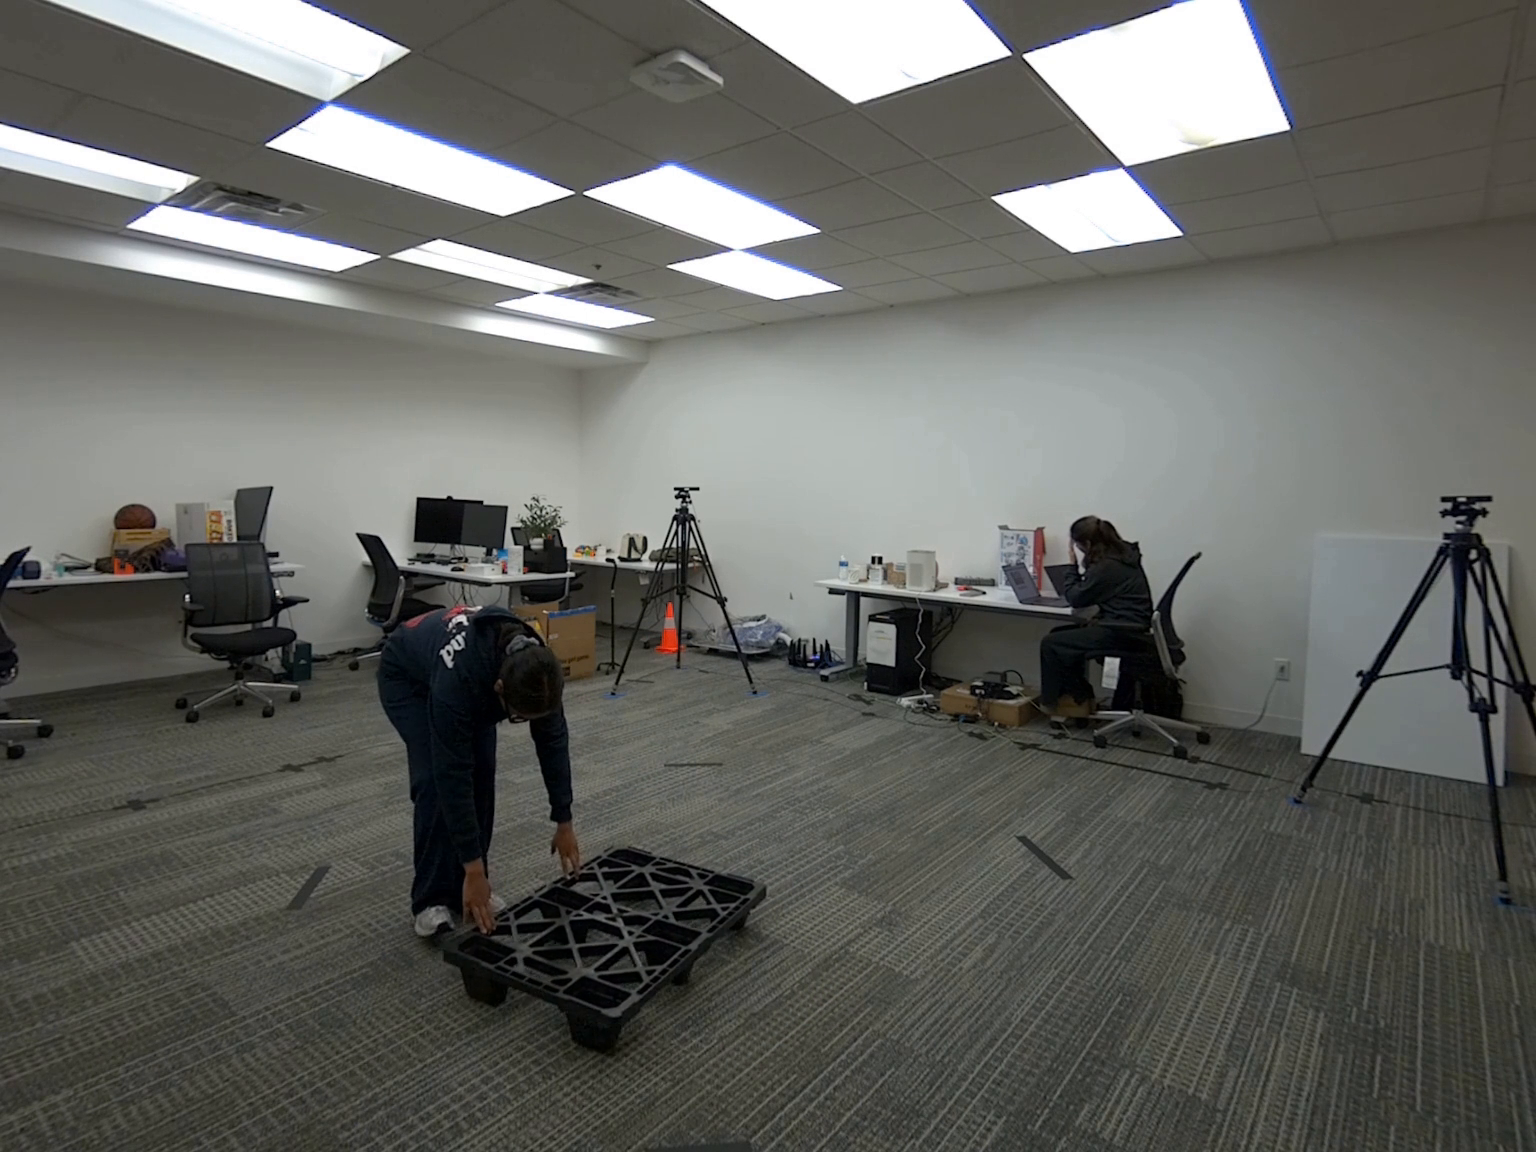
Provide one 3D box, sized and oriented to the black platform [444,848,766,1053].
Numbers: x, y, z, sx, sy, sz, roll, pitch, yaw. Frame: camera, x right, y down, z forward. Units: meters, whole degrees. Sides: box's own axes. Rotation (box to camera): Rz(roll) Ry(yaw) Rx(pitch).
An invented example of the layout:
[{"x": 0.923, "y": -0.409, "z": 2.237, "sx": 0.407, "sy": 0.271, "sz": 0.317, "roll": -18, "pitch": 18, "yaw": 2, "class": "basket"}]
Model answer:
[{"x": -0.456, "y": 1.056, "z": 2.502, "sx": 0.622, "sy": 0.143, "sz": 0.786, "roll": 3, "pitch": 6, "yaw": 28, "class": "black platform"}]
